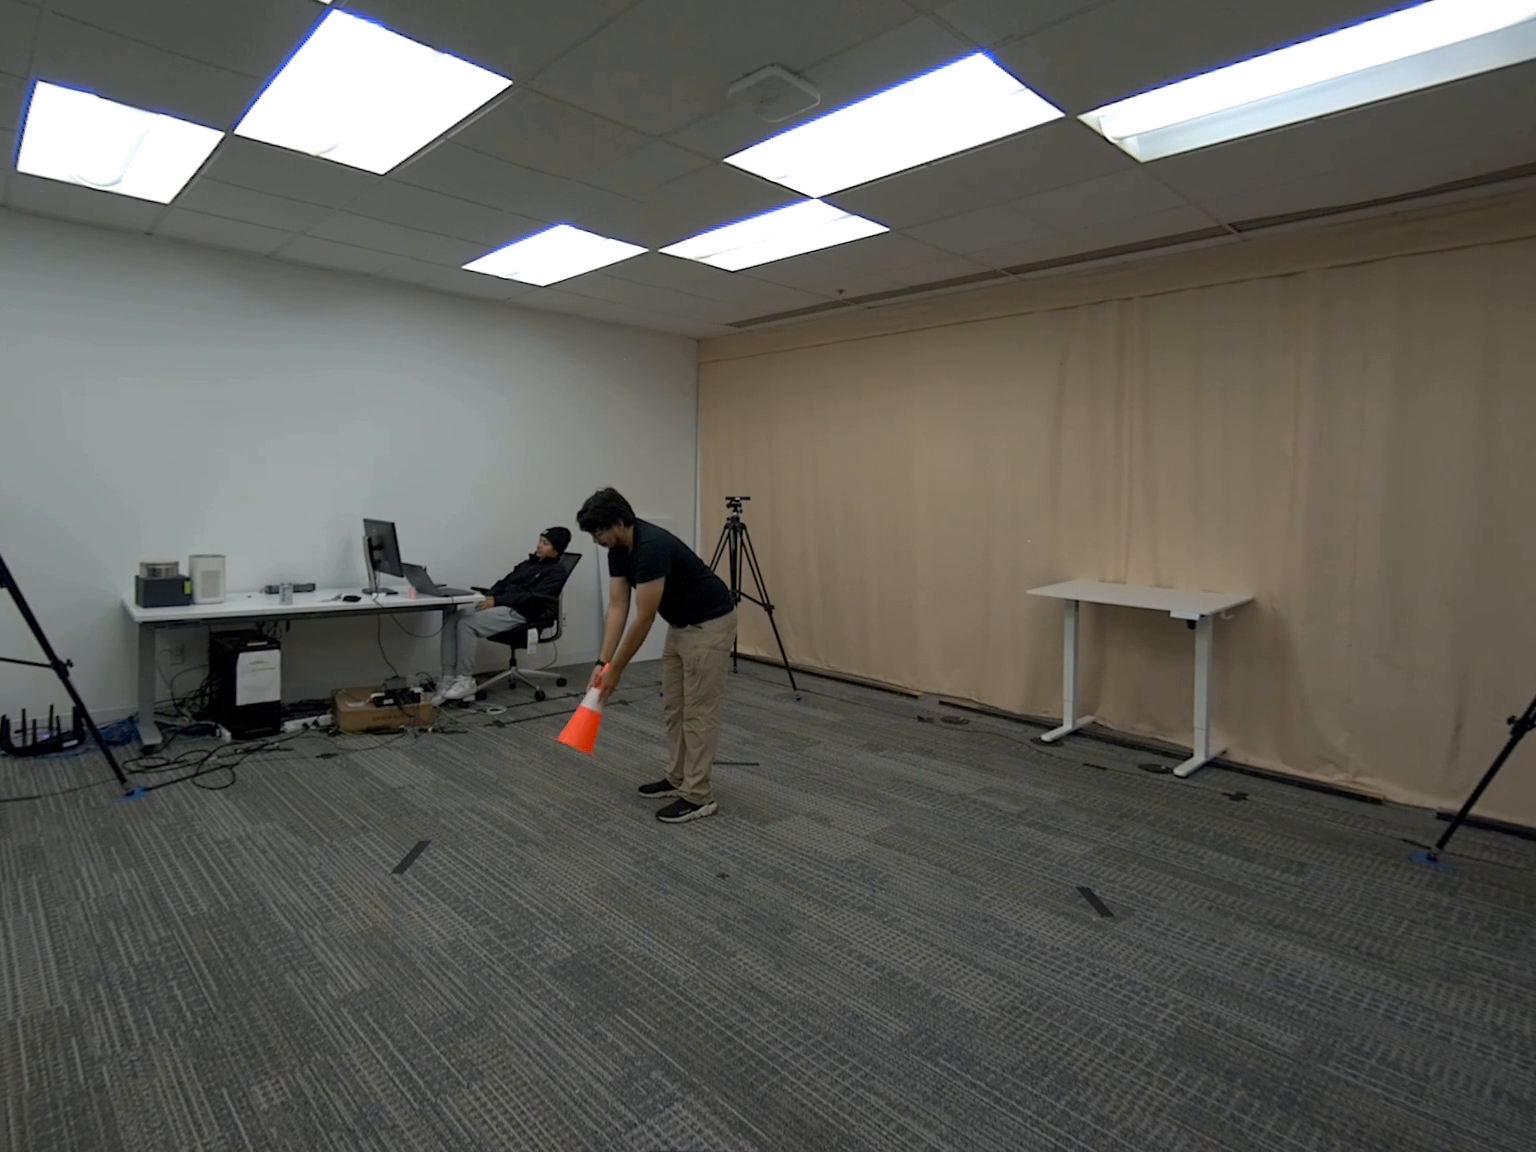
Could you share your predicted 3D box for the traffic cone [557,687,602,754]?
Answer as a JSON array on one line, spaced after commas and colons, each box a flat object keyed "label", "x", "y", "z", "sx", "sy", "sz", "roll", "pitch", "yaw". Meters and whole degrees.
[{"label": "traffic cone", "x": -0.766, "y": 0.559, "z": 3.634, "sx": 0.199, "sy": 0.386, "sz": 0.208, "roll": 31, "pitch": -16, "yaw": -30}]
